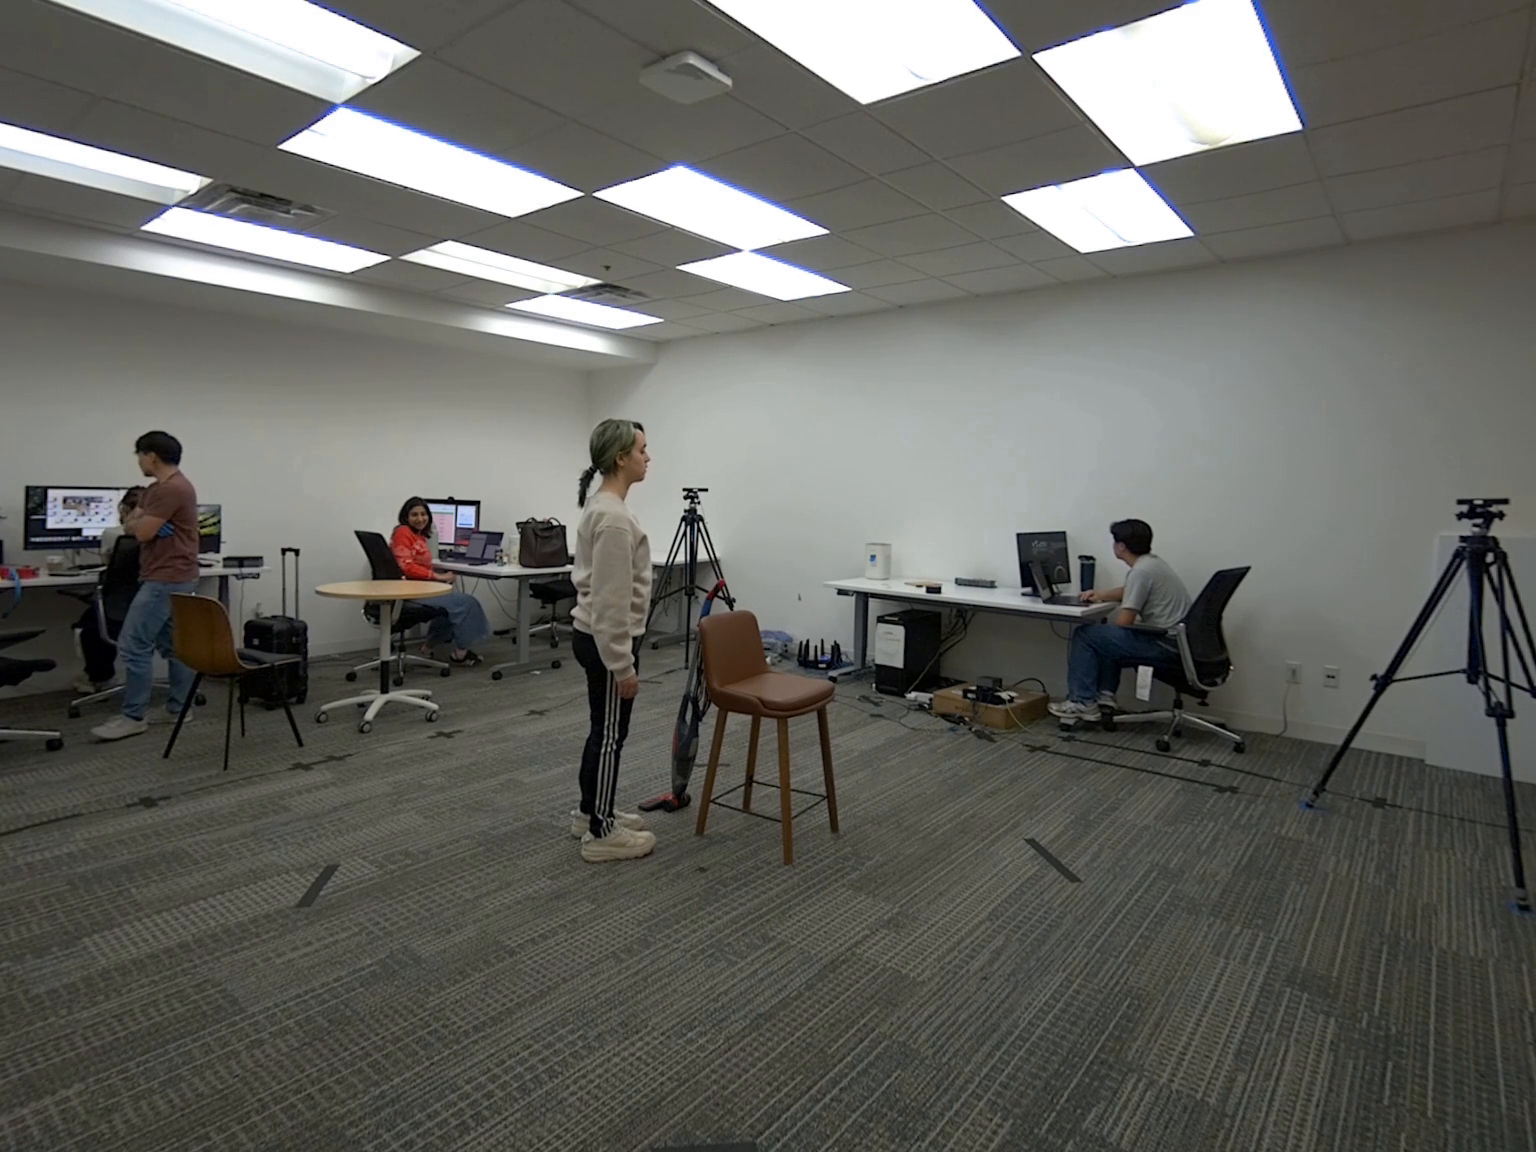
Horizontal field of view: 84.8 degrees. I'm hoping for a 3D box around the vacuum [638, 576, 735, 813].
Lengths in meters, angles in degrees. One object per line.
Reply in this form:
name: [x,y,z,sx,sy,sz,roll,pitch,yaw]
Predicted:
vacuum: [-0.331,0.520,3.642,0.149,1.042,0.244,22,12,36]
